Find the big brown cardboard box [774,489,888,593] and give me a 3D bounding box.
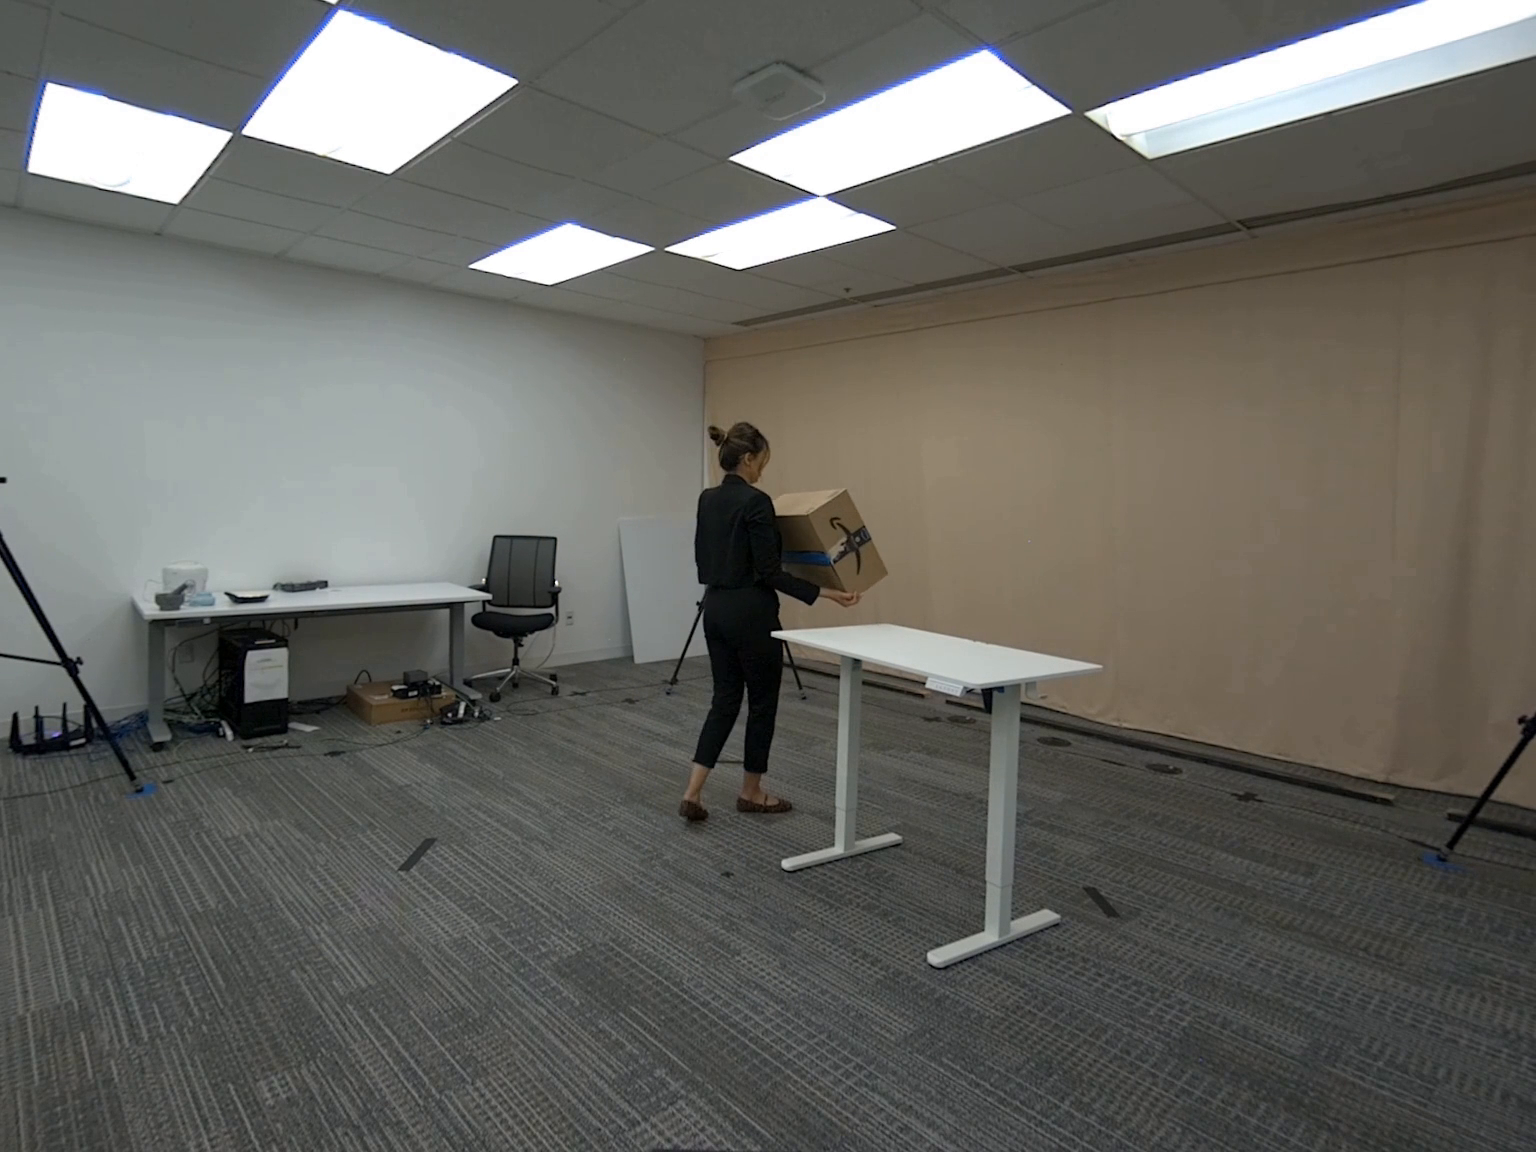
[{"bbox_3d":[0.193,-0.142,3.708,0.232,0.412,0.600,-34,15,-21],"label":"big brown cardboard box"}]
